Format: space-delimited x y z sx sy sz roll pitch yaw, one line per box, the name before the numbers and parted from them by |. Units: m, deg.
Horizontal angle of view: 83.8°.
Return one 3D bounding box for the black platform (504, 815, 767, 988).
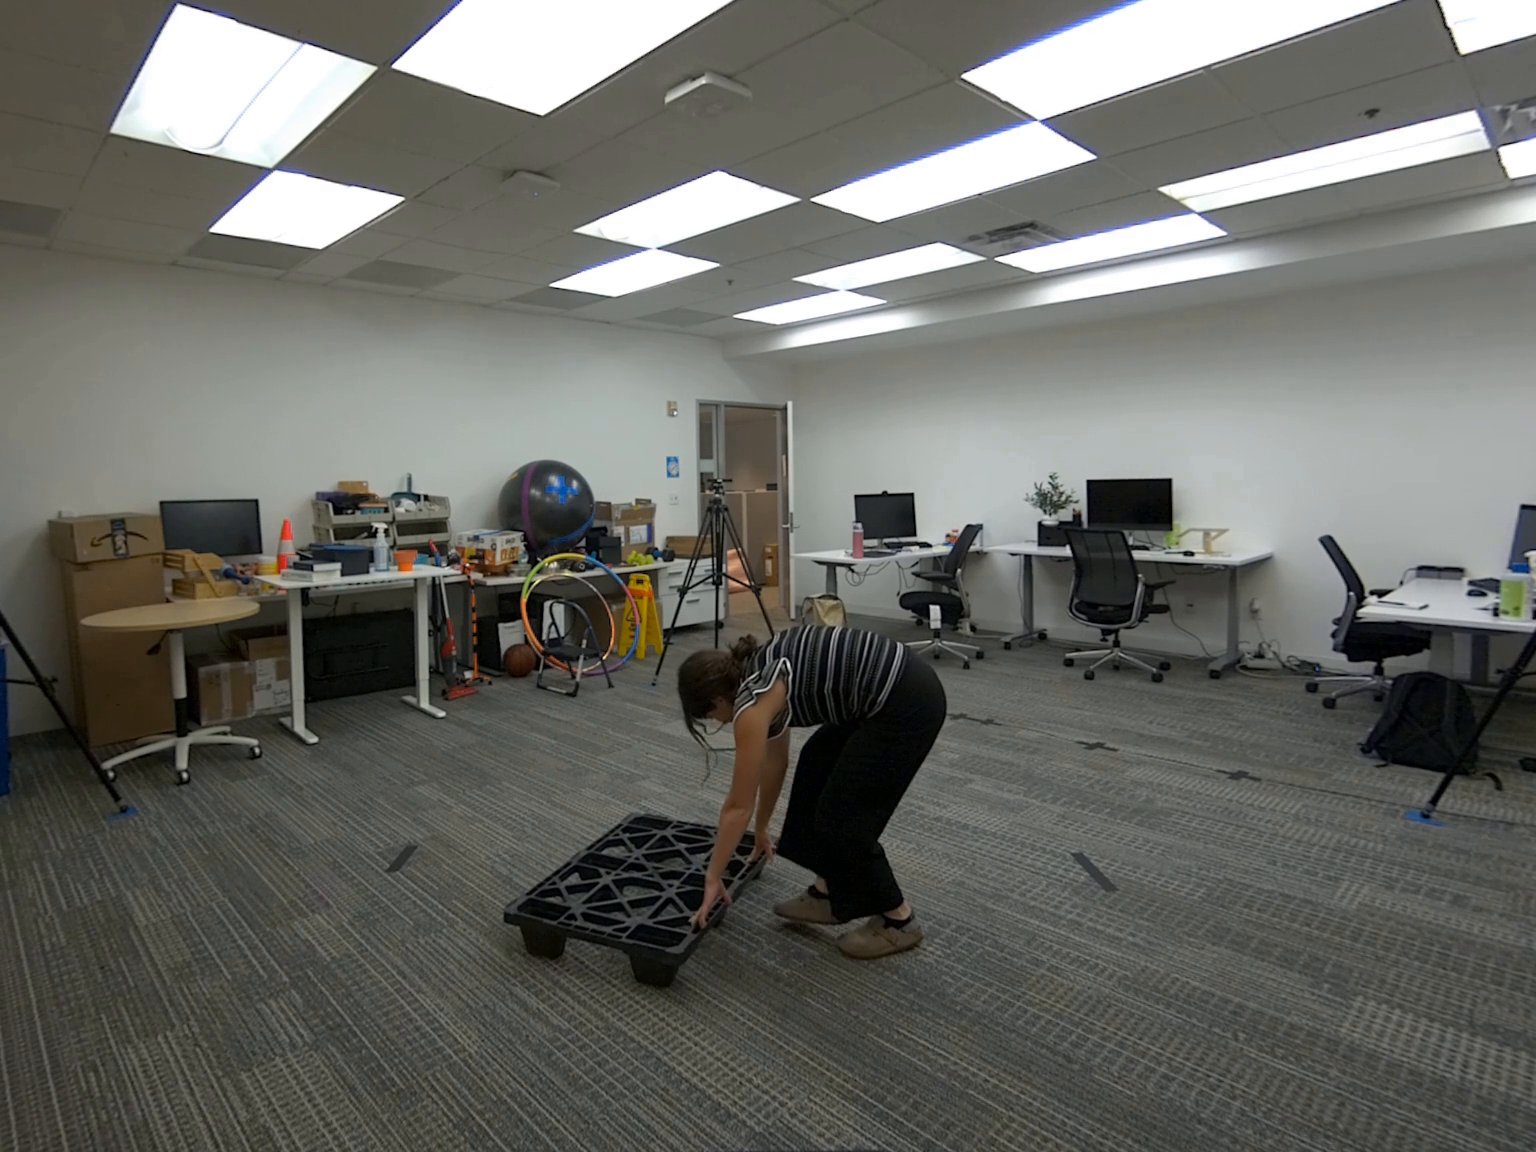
black platform | -0.374 1.018 2.780 0.618 0.142 0.792 1 7 22
